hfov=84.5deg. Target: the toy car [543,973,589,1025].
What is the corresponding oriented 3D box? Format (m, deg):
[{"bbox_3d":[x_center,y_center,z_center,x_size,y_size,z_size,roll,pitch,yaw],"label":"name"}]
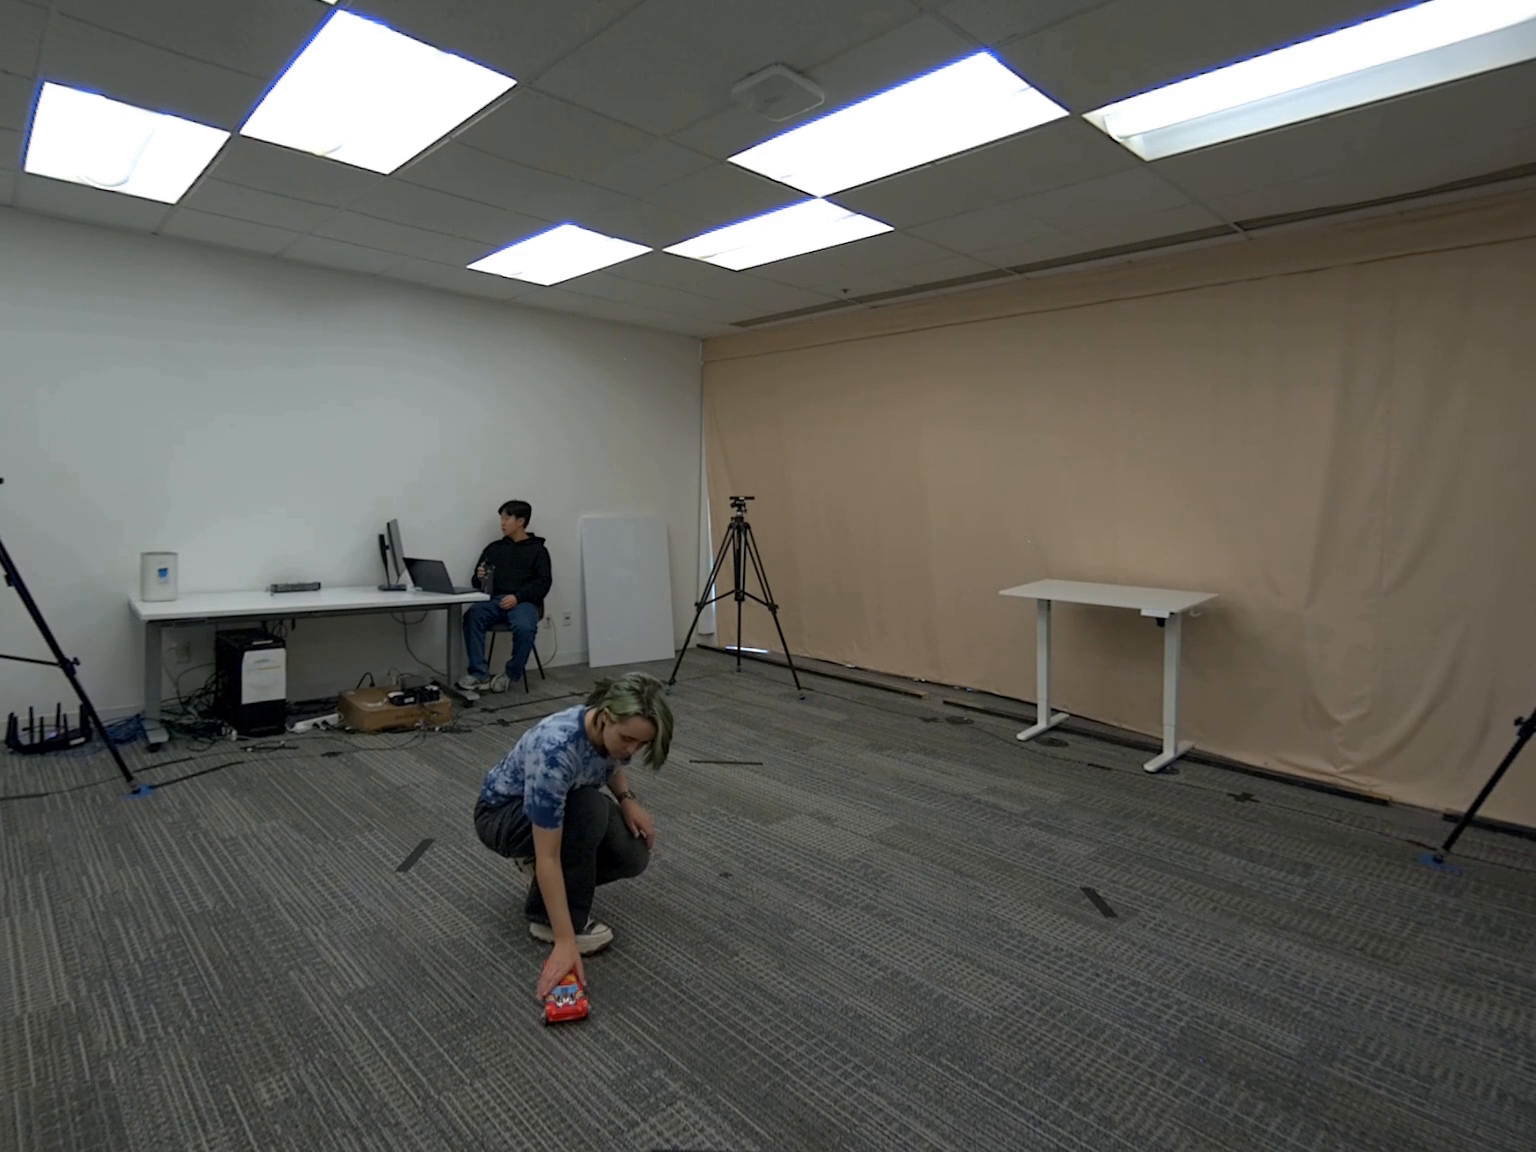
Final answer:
[{"bbox_3d":[-0.579,1.143,2.304,0.129,0.082,0.260,-1,15,-16],"label":"toy car"}]
